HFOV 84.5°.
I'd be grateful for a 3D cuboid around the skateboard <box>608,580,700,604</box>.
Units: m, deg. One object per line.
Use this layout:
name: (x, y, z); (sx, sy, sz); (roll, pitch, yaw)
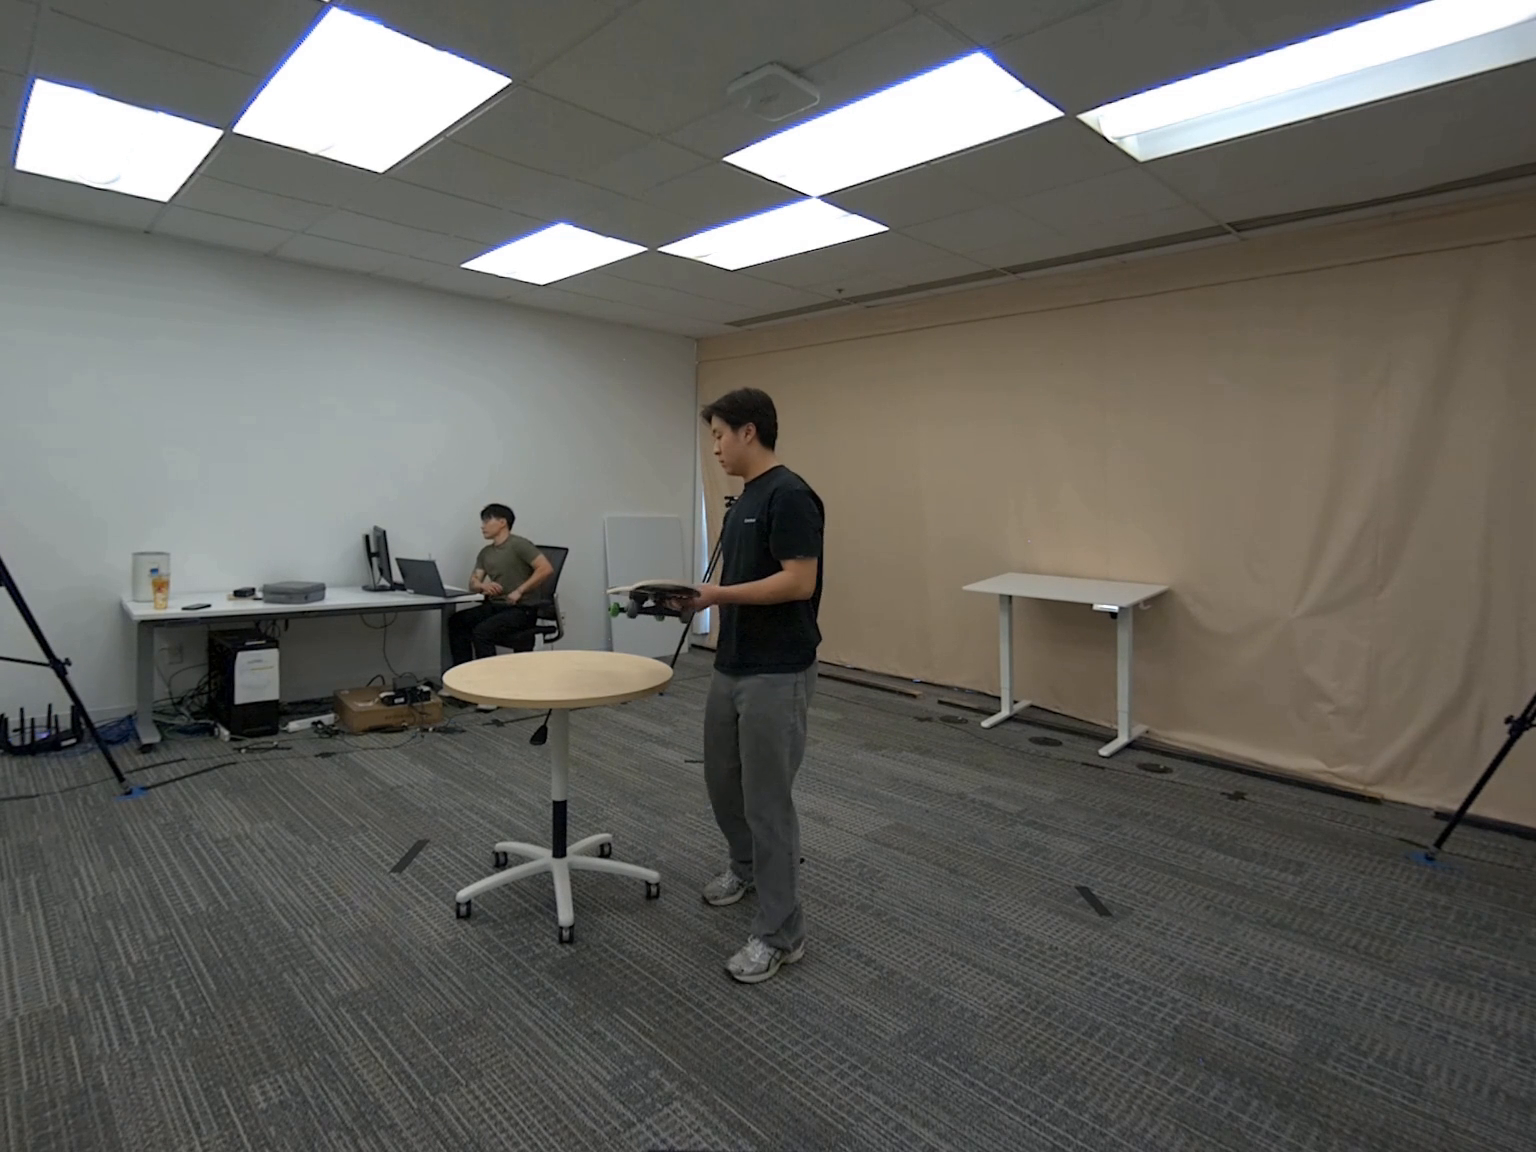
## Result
skateboard: (-0.369, 0.080, 2.604); (0.191, 0.111, 0.794); (6, -4, -18)
